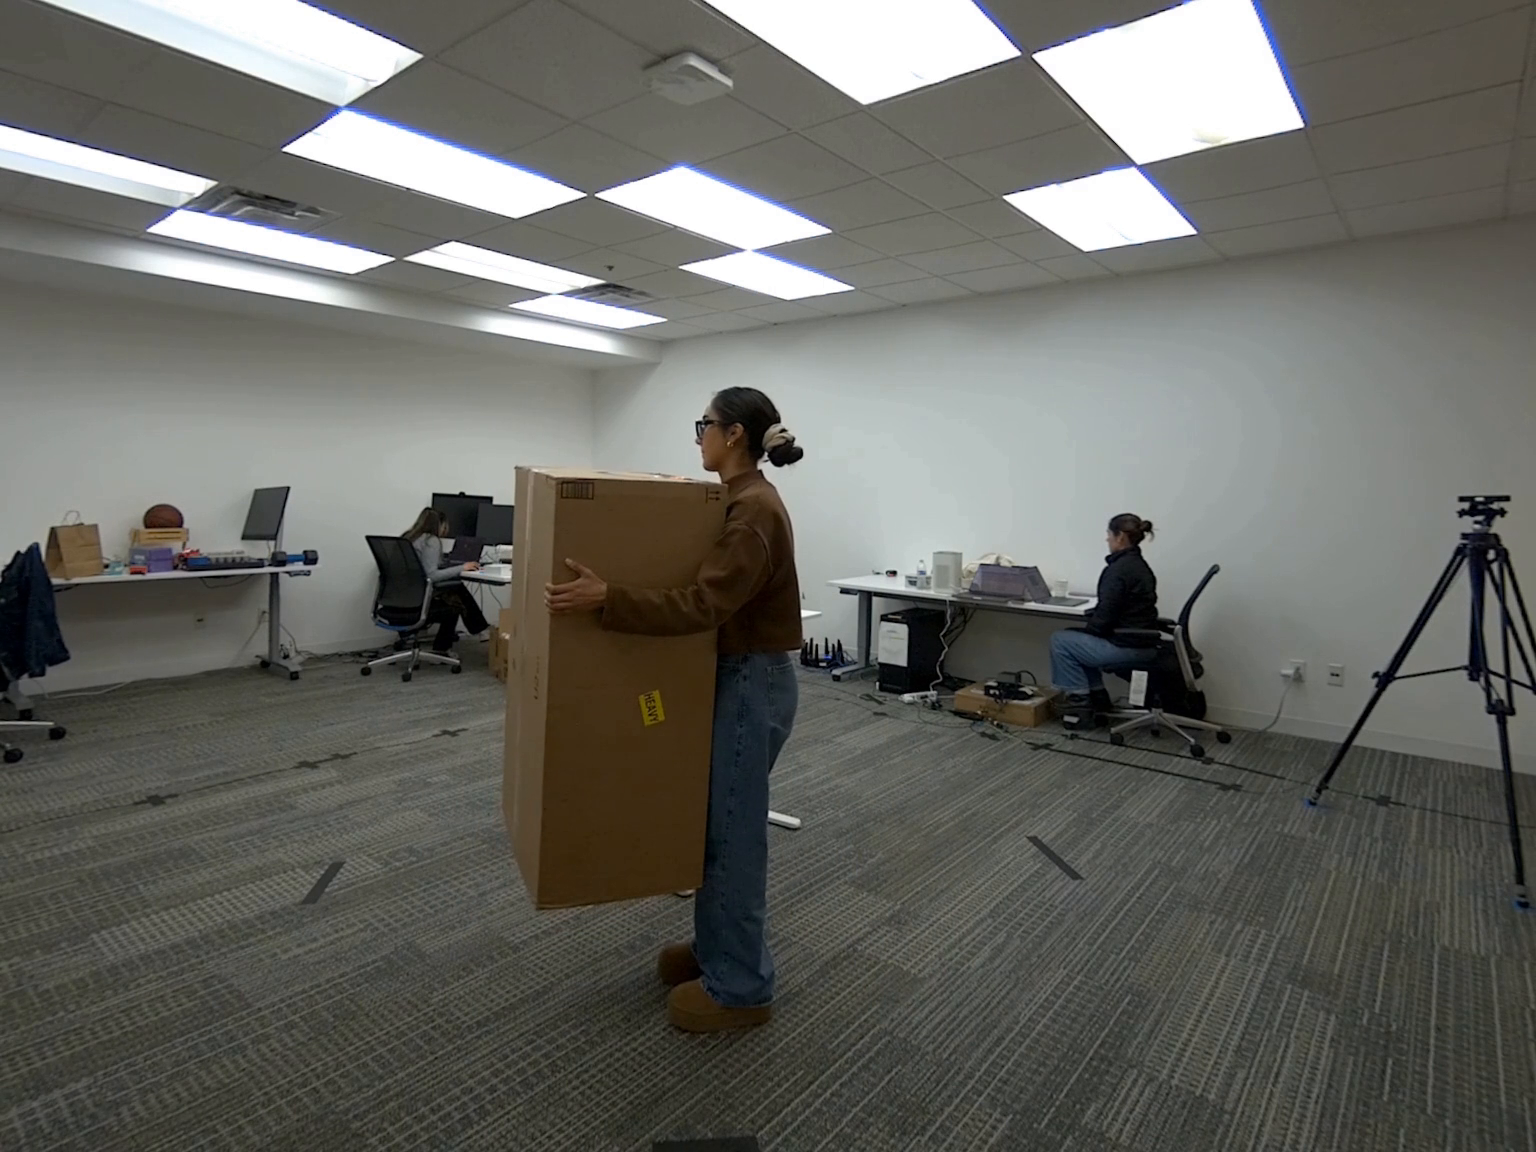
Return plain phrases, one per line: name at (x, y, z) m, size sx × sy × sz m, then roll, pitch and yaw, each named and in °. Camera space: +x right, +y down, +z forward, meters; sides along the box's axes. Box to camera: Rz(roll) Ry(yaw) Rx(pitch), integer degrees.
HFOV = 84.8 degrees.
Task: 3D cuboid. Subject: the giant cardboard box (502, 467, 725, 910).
giant cardboard box at (-0.451, 0.241, 2.281) m, size 0.416 × 1.021 × 0.595 m, roll 1°, pitch 7°, yaw -25°
